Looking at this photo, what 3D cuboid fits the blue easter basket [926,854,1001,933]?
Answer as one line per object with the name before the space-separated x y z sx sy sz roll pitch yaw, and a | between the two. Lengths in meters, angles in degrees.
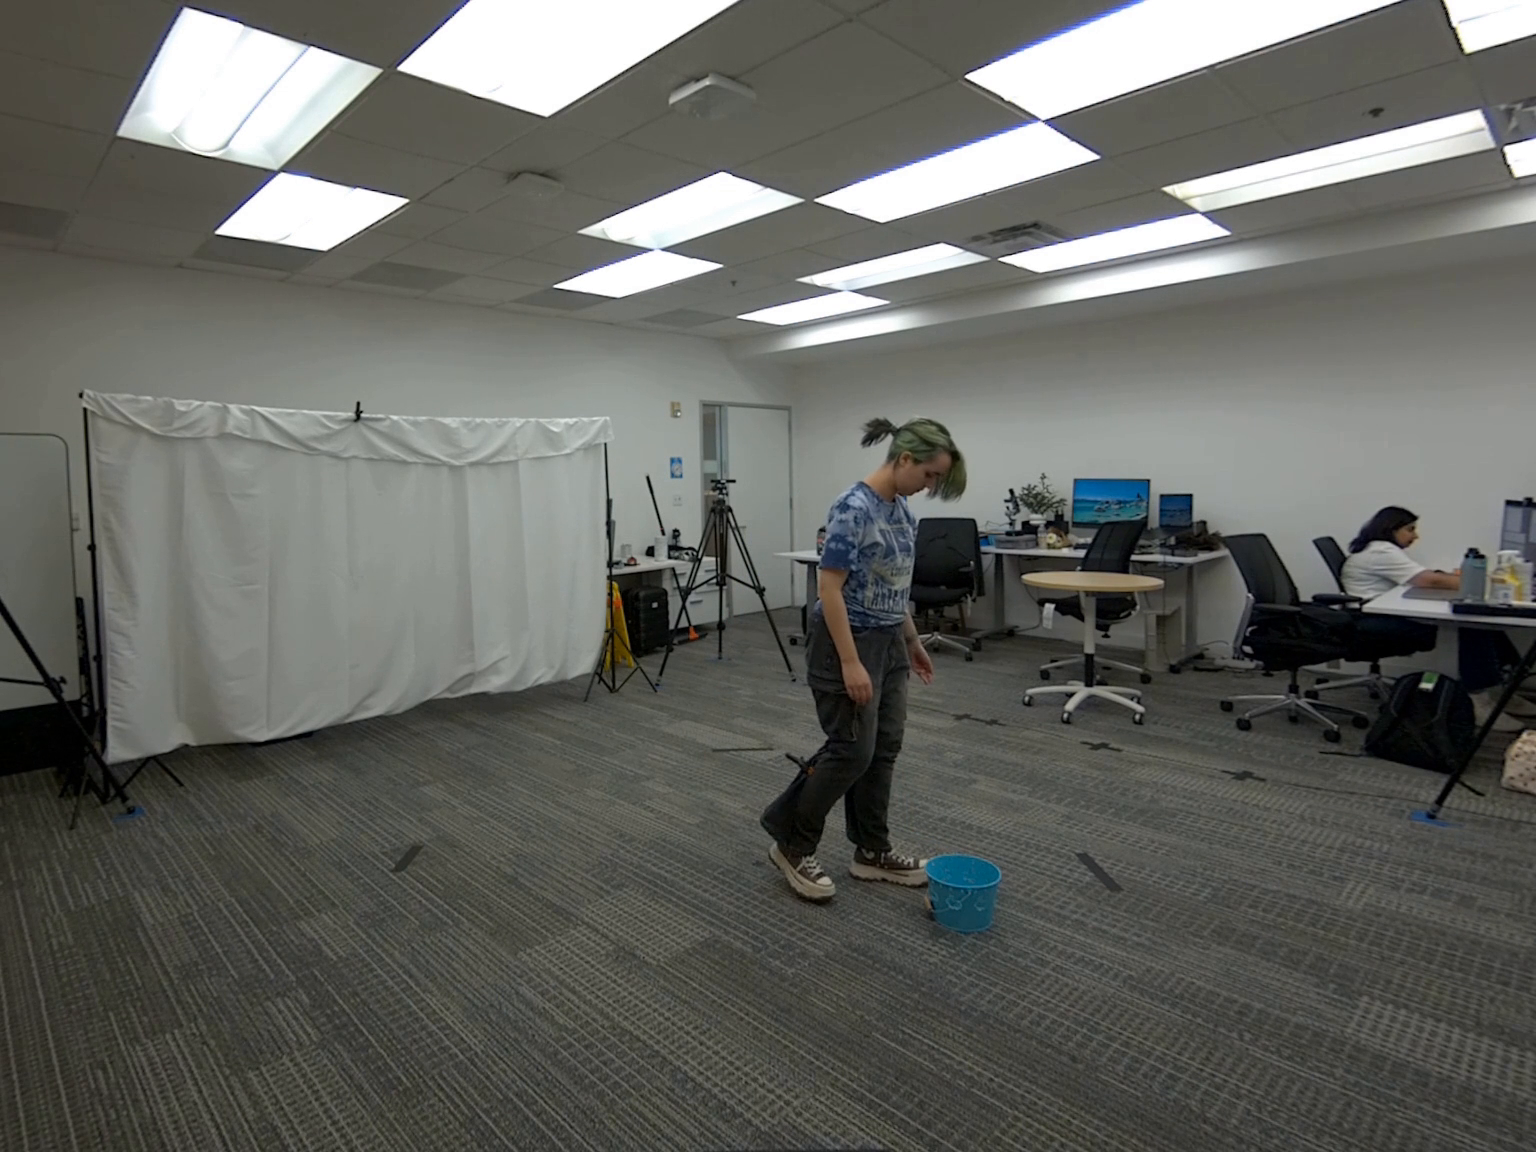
blue easter basket | 0.616 1.000 2.708 0.243 0.155 0.245 -1 6 -2
